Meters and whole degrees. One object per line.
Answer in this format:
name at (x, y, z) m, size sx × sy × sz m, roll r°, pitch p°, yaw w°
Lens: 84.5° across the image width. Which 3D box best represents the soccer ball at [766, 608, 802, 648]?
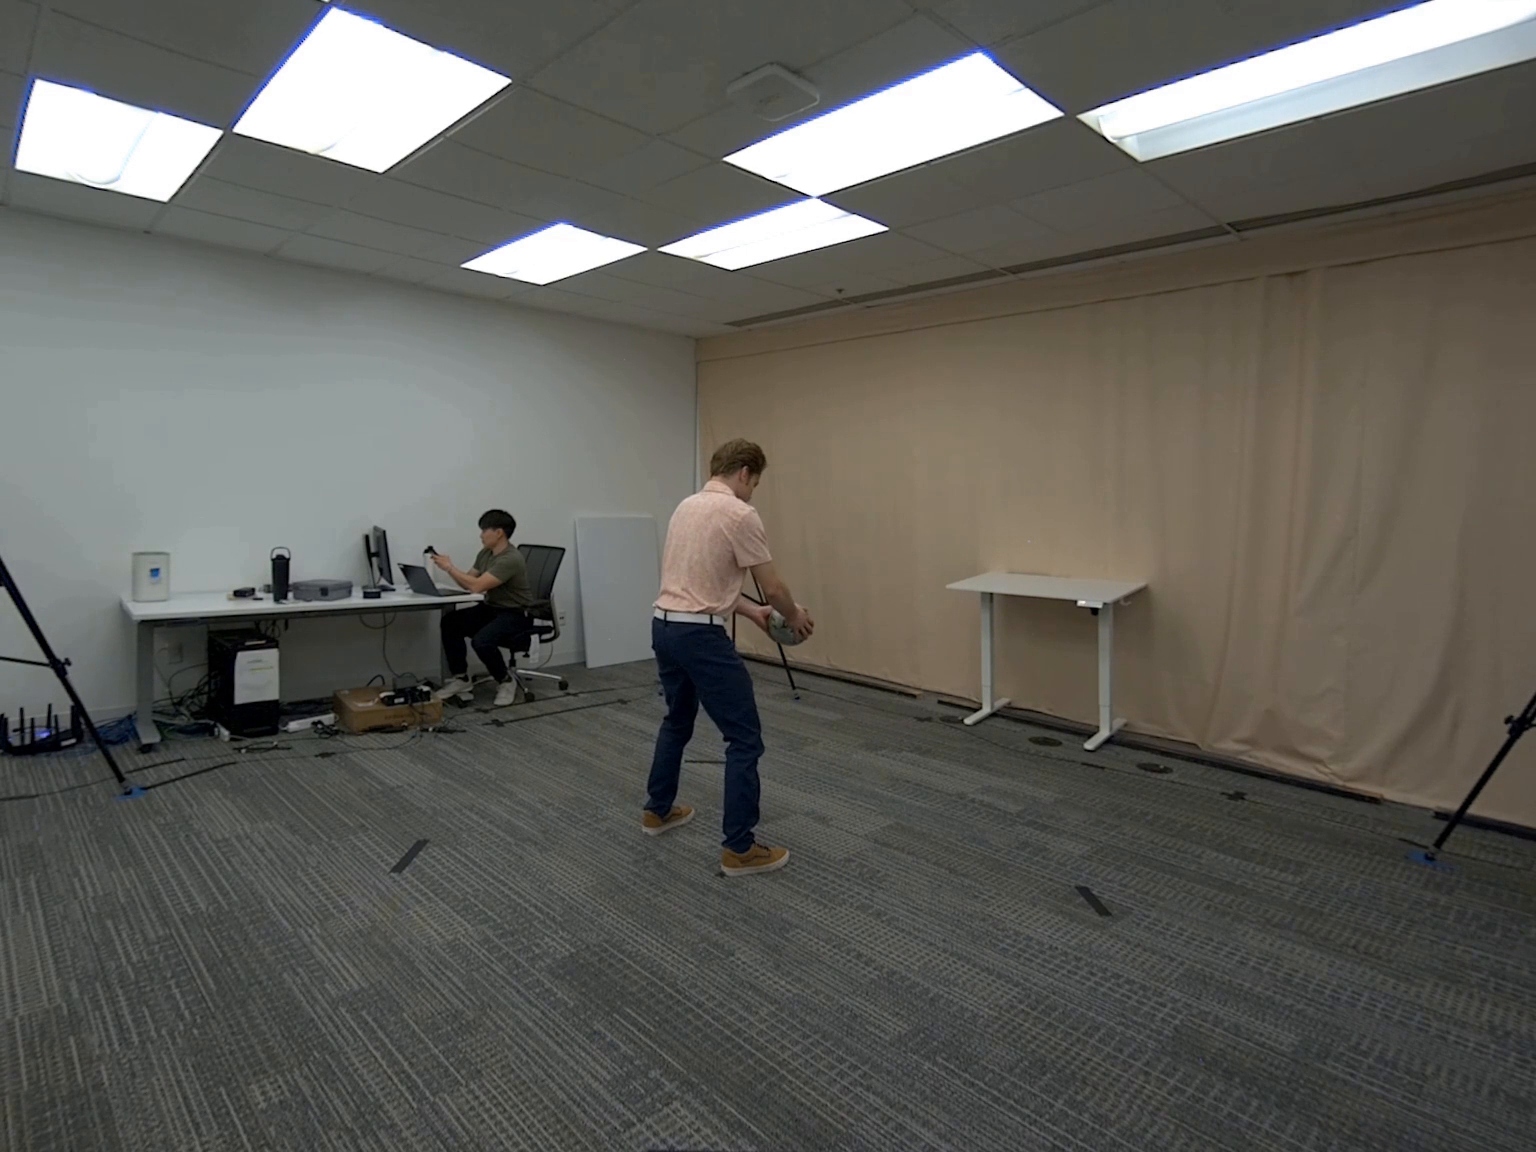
soccer ball at (0.093, 0.212, 3.597) m, size 0.187 × 0.187 × 0.188 m, roll 1°, pitch 4°, yaw -1°
